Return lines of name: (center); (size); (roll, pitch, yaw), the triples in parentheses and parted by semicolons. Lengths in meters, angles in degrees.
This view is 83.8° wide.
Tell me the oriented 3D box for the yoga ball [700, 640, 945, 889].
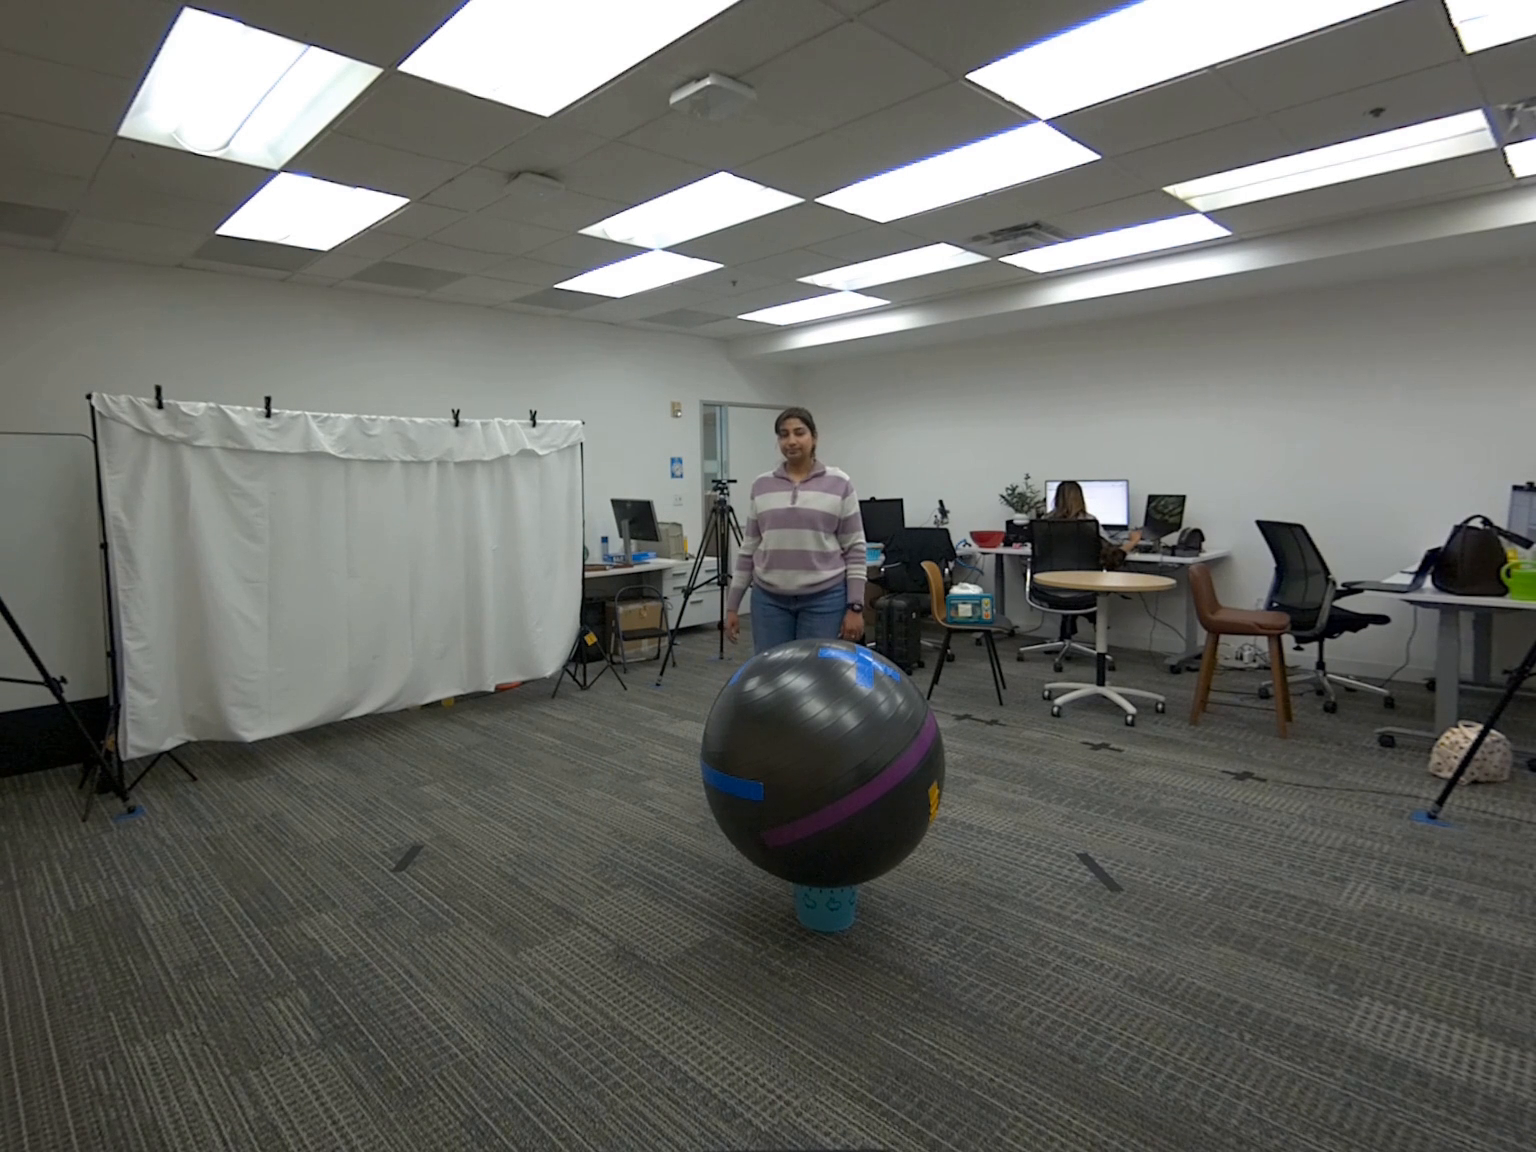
yoga ball: (0.164, 0.584, 2.694); (0.757, 0.755, 0.762); (-1, 5, -2)
